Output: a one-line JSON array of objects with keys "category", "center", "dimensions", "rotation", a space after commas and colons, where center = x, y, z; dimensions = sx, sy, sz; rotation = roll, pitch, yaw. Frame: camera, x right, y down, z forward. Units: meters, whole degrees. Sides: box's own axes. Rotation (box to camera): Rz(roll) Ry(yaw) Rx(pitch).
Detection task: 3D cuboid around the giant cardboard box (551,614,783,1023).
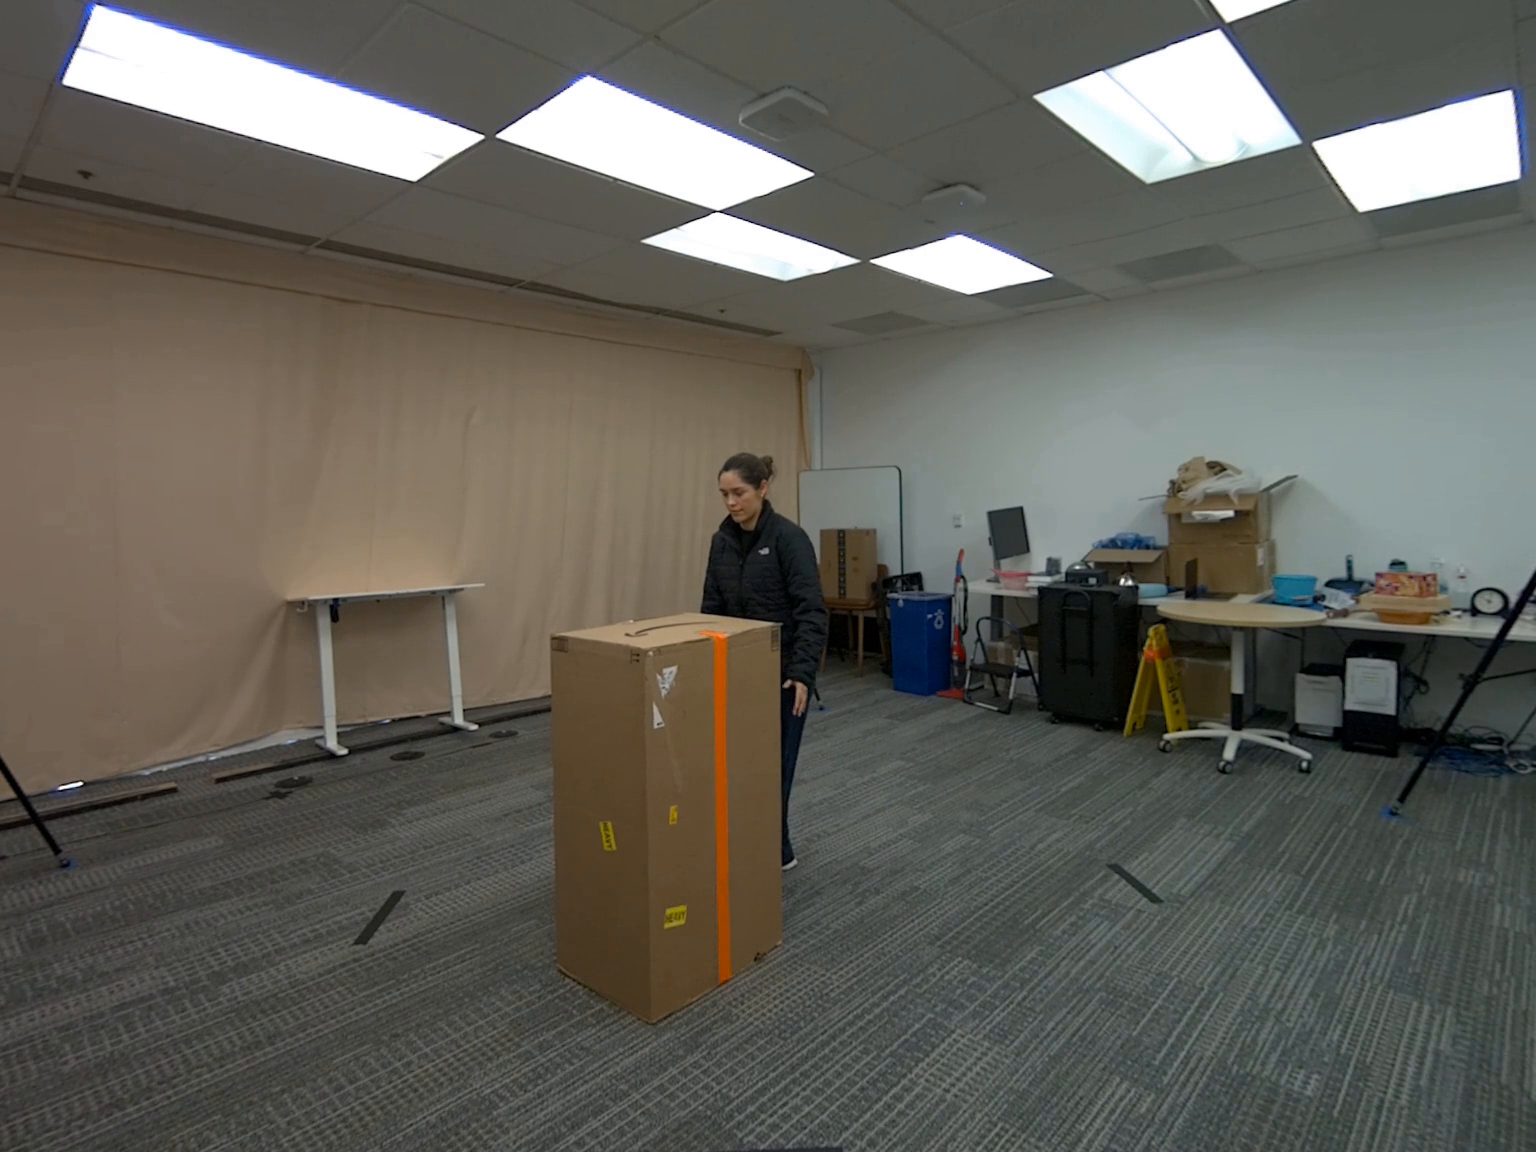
[{"category": "giant cardboard box", "center": [-0.288, 0.674, 2.577], "dimensions": [0.440, 1.024, 0.560], "rotation": [2, 4, 41]}]
